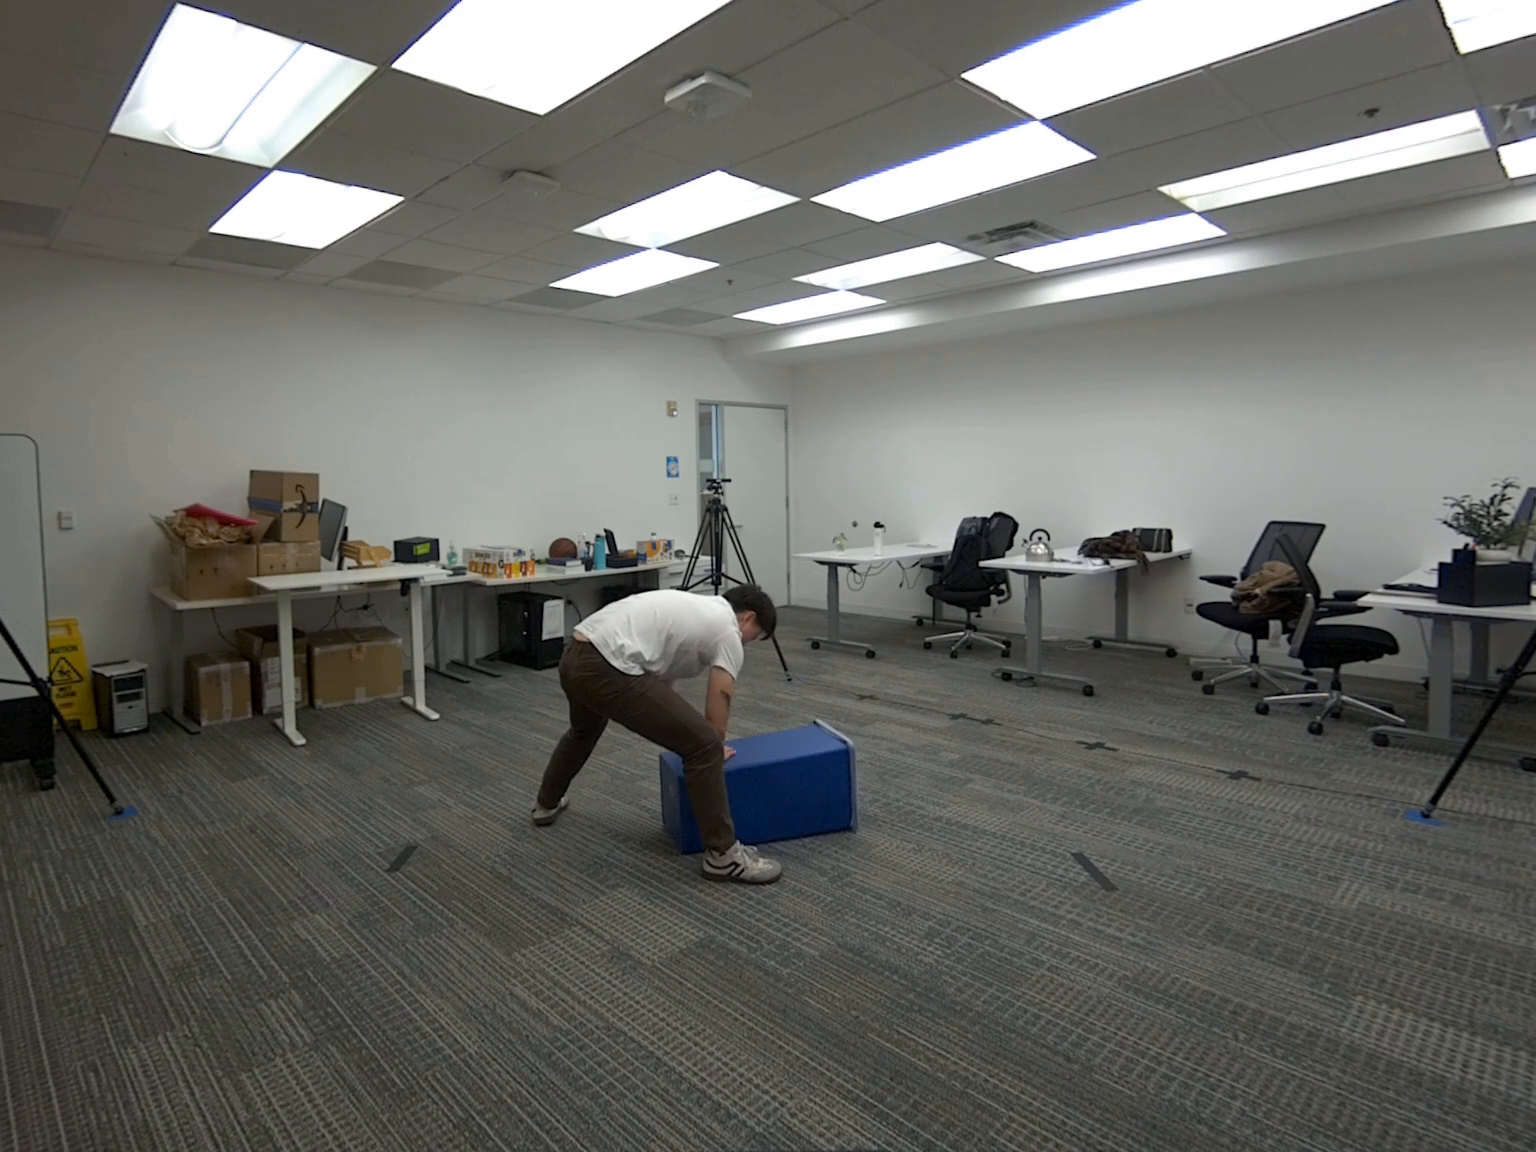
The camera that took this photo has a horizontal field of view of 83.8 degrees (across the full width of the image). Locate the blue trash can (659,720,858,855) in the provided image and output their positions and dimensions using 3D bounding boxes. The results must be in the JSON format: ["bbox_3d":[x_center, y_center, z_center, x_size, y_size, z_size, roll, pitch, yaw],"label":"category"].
[{"bbox_3d":[-0.037,0.835,3.408,0.702,0.376,0.382,-5,7,-18],"label":"blue trash can"}]
